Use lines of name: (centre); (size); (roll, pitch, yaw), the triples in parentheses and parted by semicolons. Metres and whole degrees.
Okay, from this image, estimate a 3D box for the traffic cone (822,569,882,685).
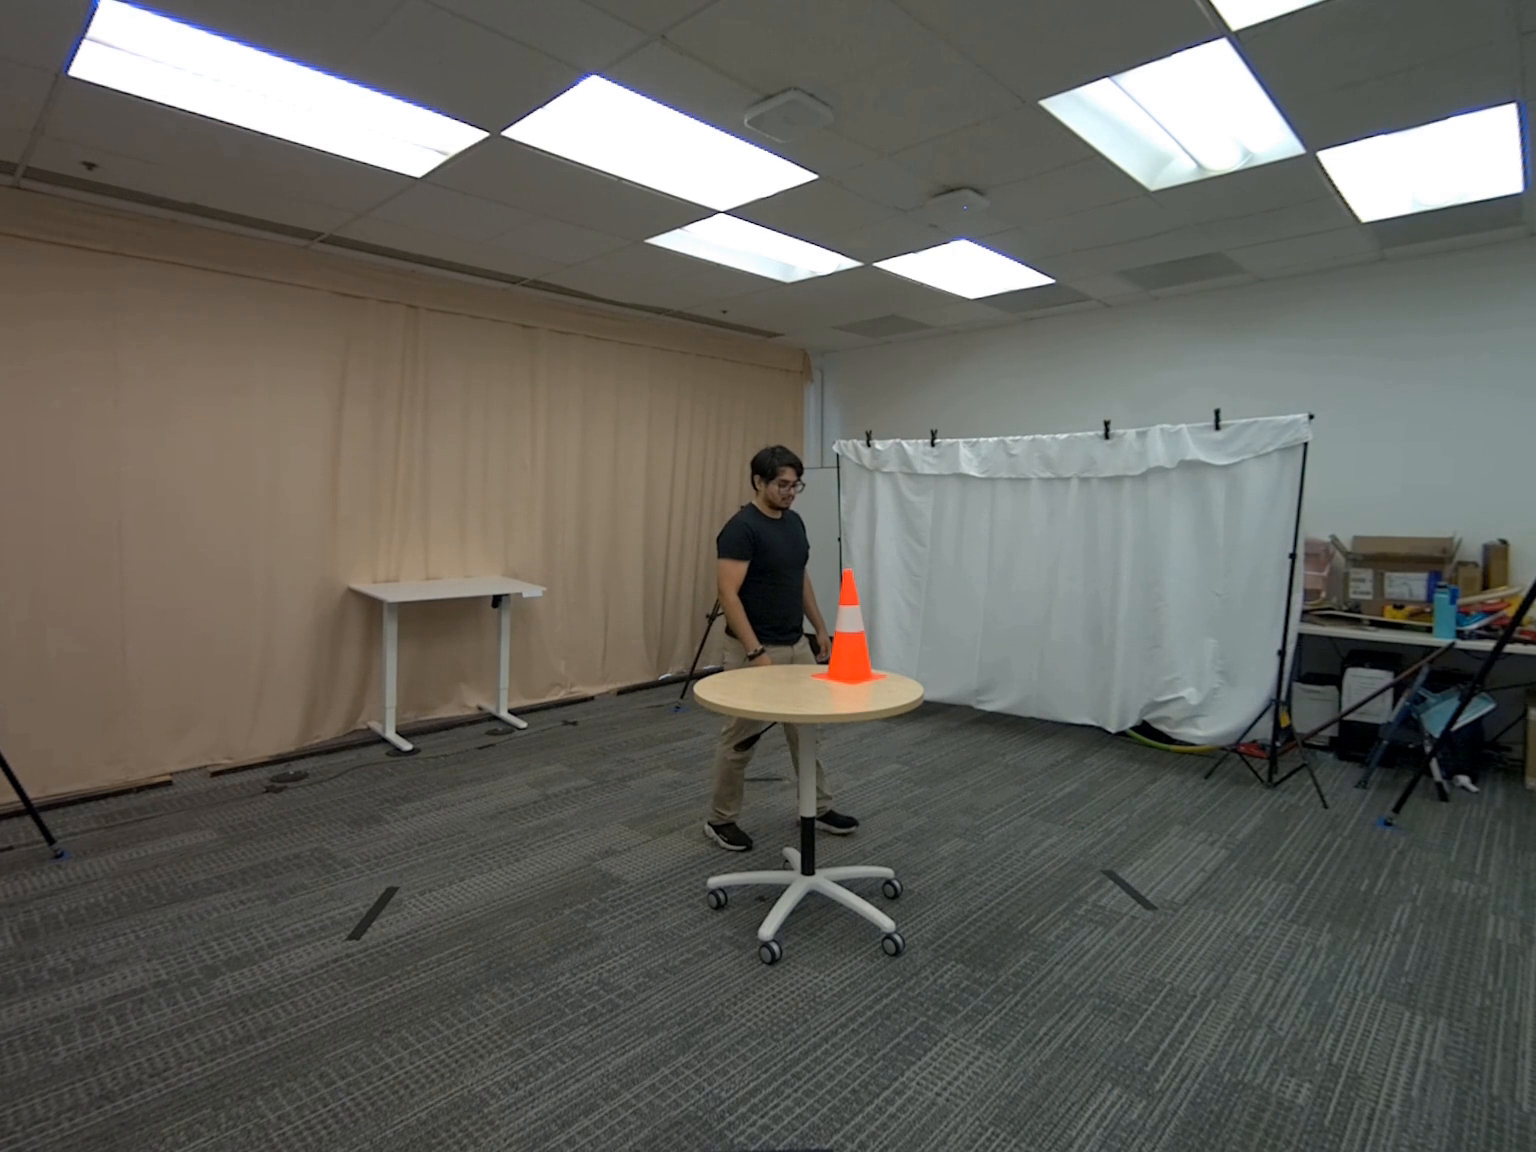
traffic cone: (0.292, 0.169, 2.981); (0.211, 0.383, 0.198); (1, 3, 29)
